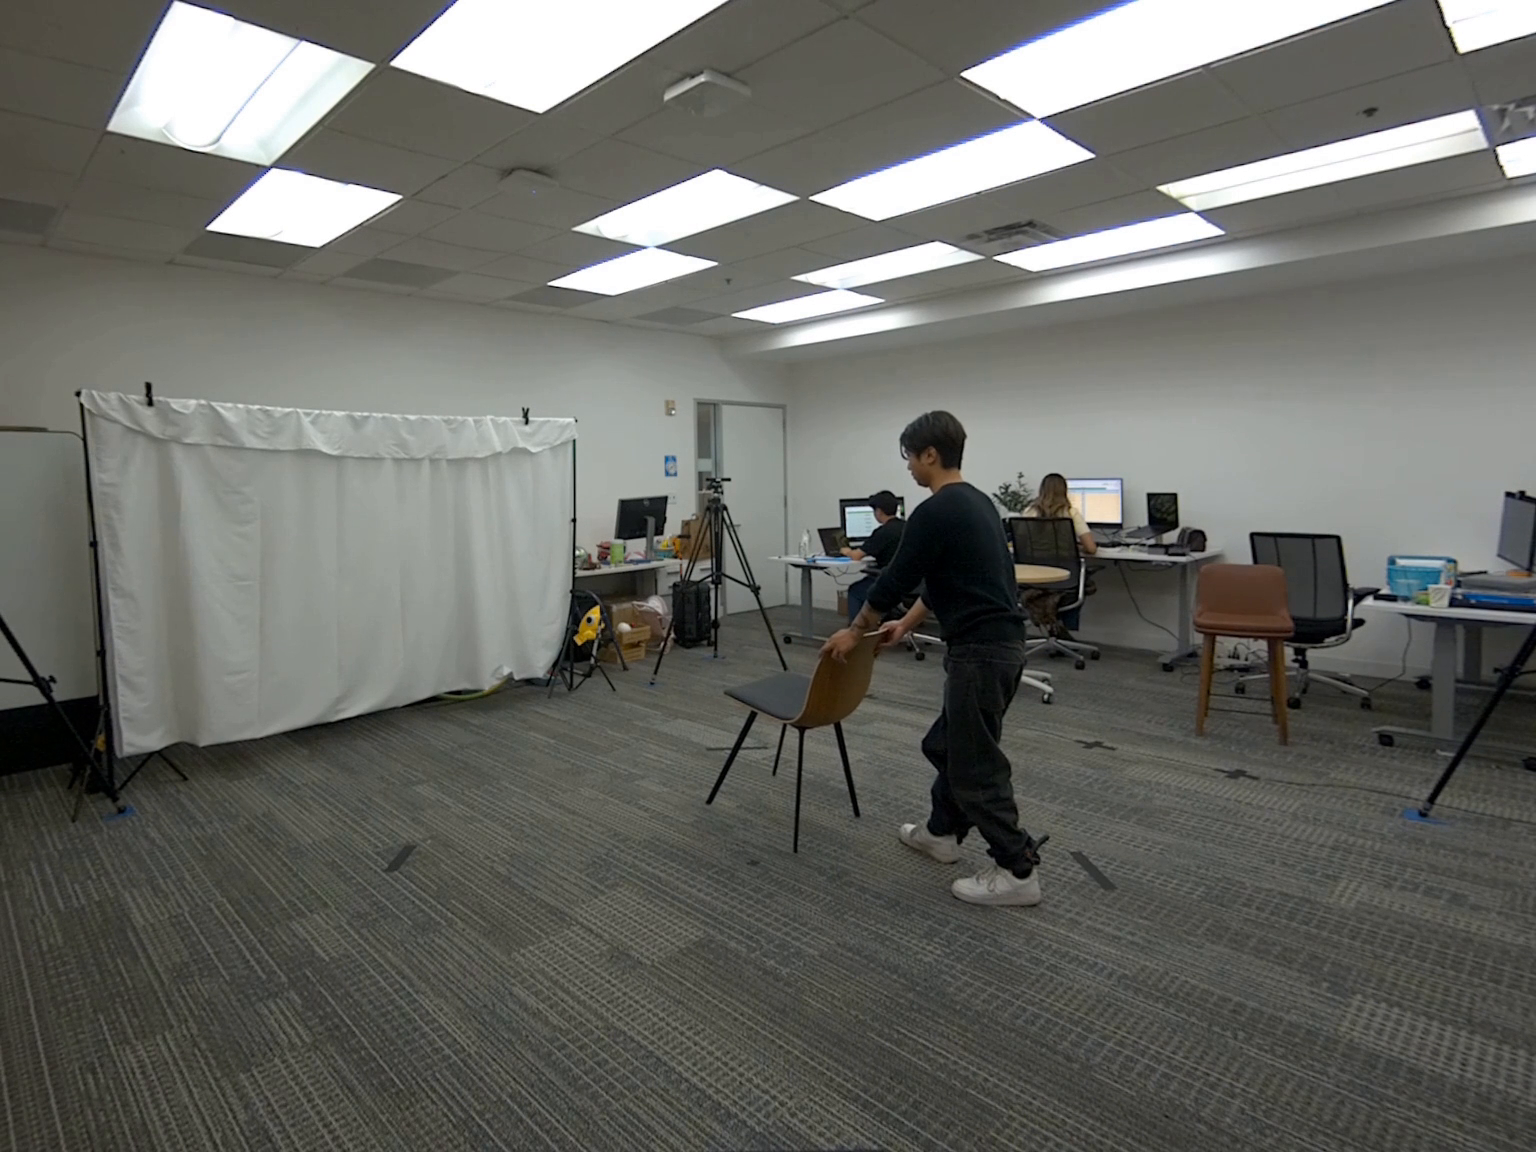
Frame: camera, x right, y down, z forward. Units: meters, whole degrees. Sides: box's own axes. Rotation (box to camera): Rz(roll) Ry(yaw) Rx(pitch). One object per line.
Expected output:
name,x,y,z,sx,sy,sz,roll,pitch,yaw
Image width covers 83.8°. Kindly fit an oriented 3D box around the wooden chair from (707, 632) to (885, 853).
wooden chair,0.116,0.544,3.409,0.542,0.869,0.466,21,17,37
